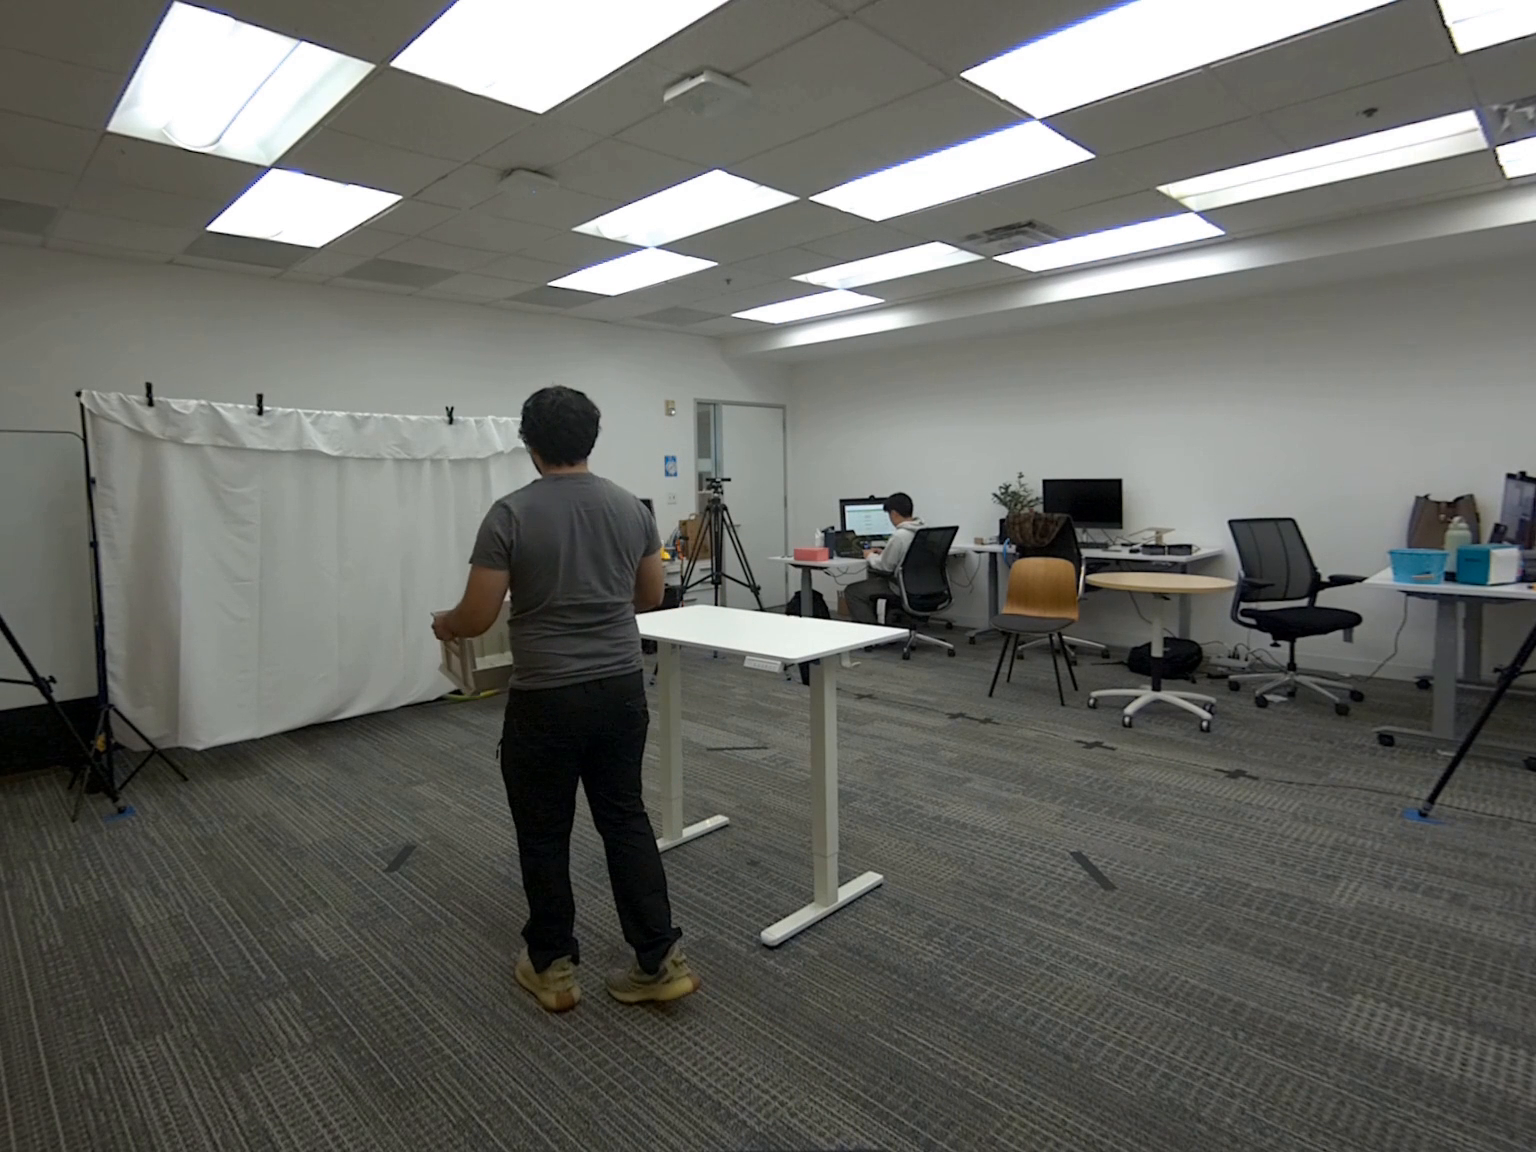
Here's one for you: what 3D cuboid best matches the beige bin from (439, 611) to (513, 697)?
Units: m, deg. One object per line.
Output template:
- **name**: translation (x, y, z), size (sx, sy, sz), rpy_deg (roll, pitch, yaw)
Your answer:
- **beige bin**: translation (-0.740, 0.198, 2.558), size (0.413, 0.187, 0.389), rpy_deg (-11, 13, -33)
